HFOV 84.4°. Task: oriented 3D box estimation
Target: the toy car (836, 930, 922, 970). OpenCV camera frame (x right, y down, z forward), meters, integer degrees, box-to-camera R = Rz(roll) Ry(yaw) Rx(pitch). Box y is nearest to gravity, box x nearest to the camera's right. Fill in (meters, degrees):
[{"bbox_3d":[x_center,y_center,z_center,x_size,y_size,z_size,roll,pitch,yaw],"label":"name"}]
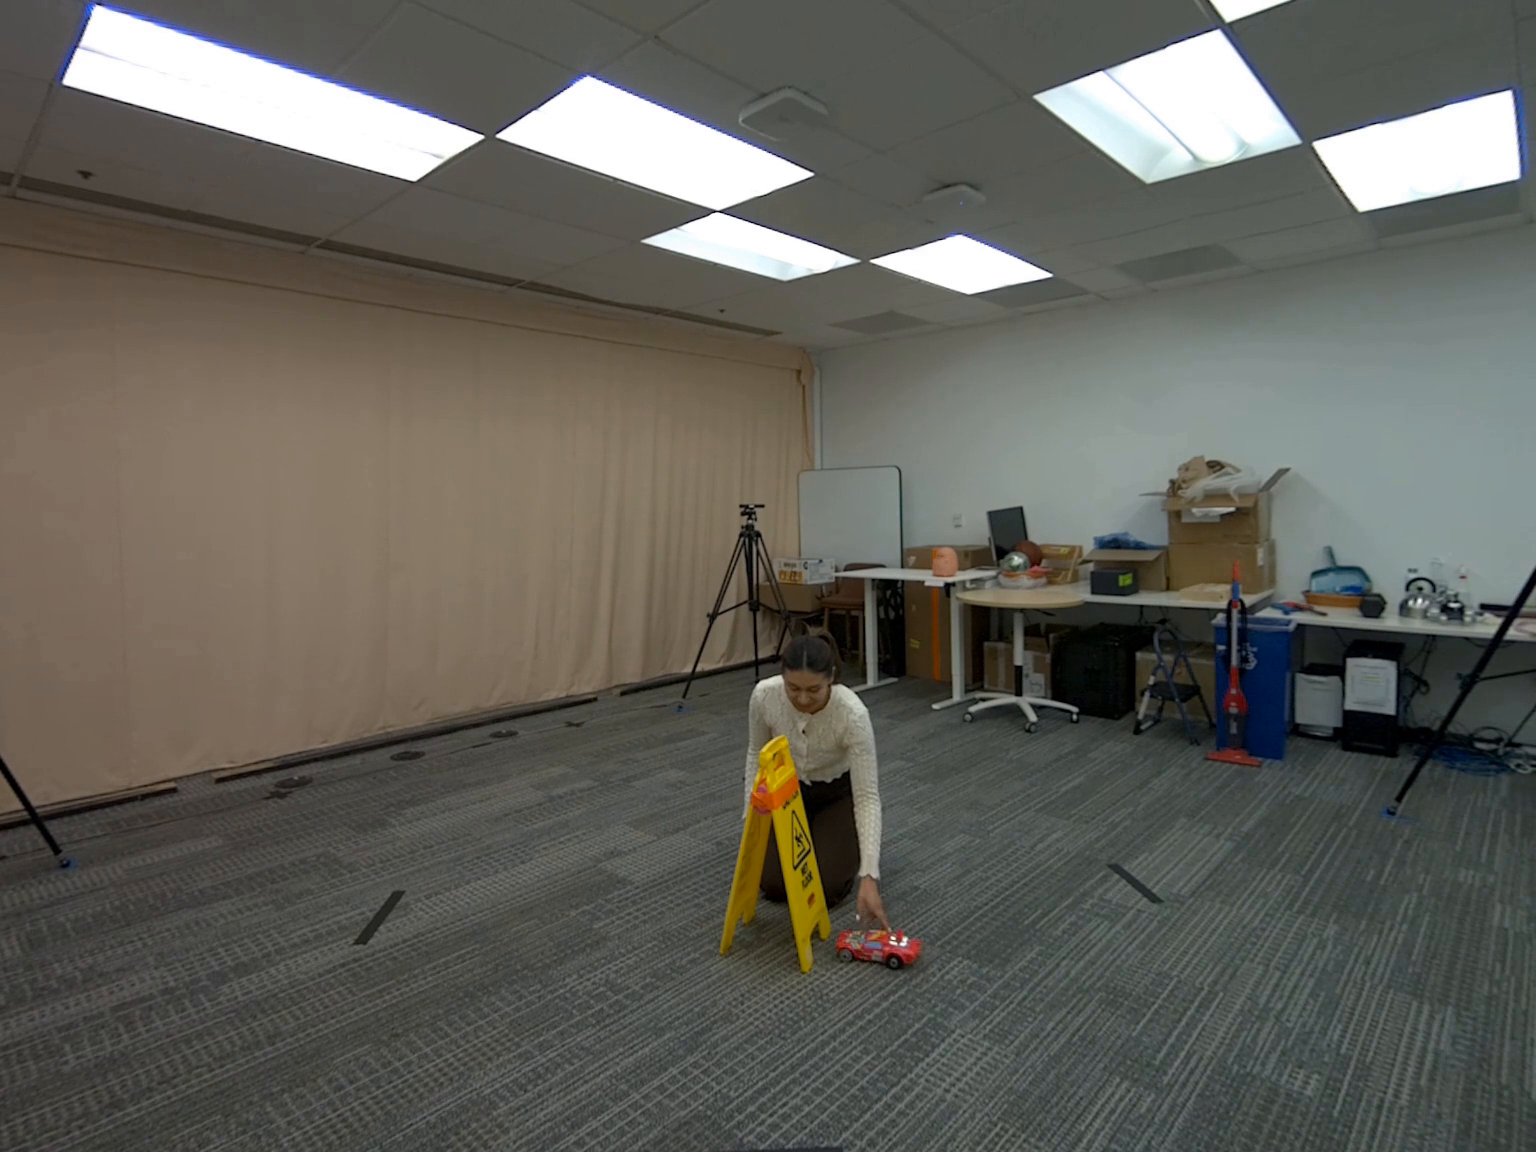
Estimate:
[{"bbox_3d":[0.349,1.129,2.572,0.259,0.083,0.128,-11,1,21],"label":"toy car"}]
